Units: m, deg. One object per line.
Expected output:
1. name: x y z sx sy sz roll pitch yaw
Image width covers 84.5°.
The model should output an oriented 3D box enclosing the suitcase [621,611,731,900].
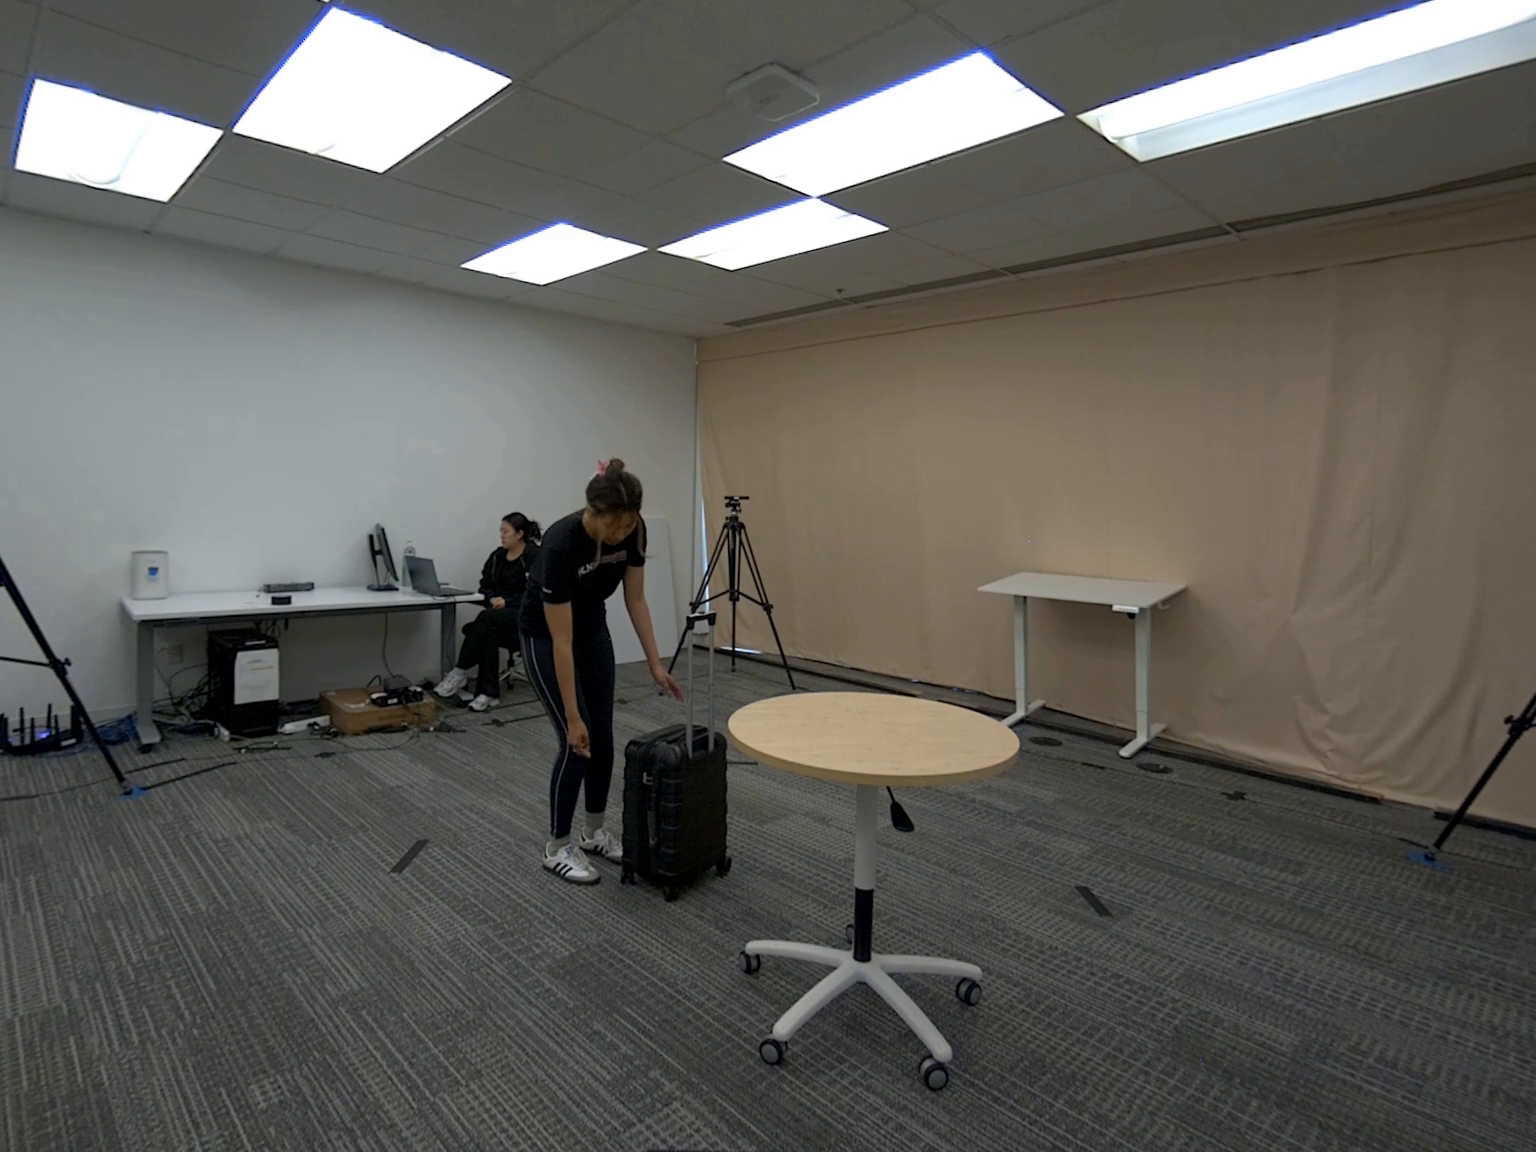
1. suitcase: -0.340 0.628 3.035 0.263 0.977 0.376 1 3 35
